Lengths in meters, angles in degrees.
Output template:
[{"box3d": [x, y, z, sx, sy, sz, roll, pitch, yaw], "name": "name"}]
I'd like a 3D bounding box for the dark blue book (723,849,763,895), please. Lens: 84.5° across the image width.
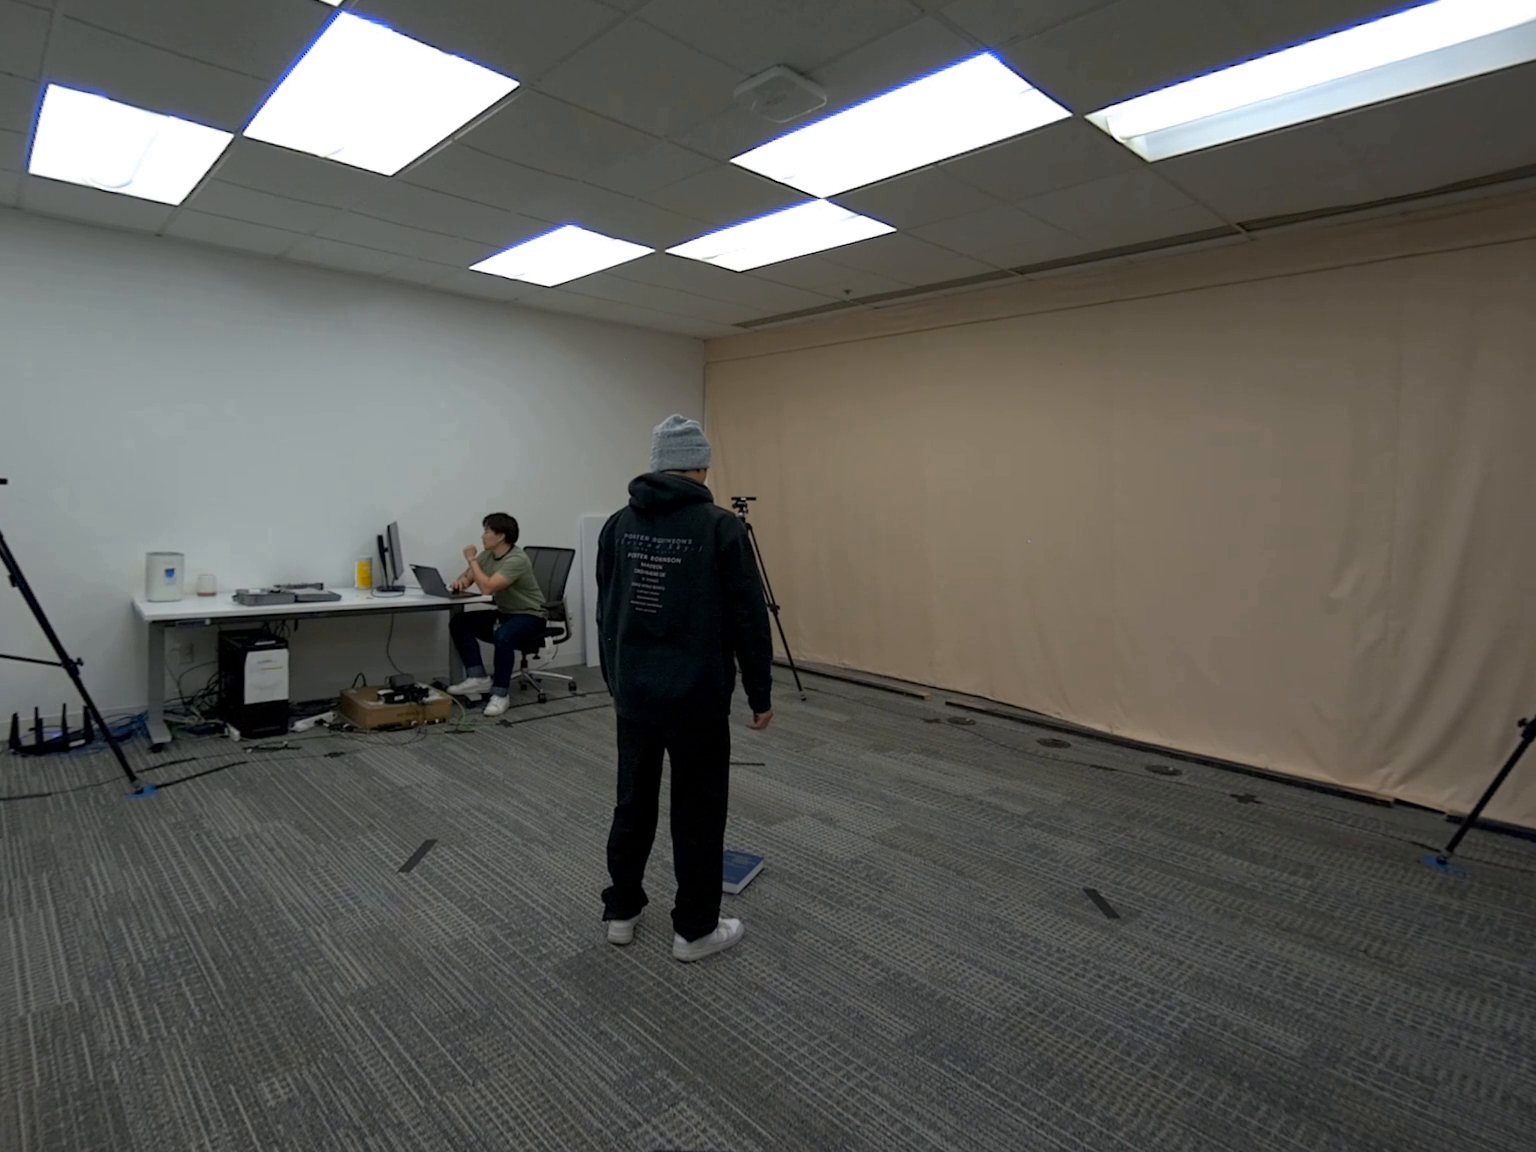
[{"box3d": [-0.138, 1.083, 3.089, 0.166, 0.045, 0.241, 4, 6, 23], "name": "dark blue book"}]
